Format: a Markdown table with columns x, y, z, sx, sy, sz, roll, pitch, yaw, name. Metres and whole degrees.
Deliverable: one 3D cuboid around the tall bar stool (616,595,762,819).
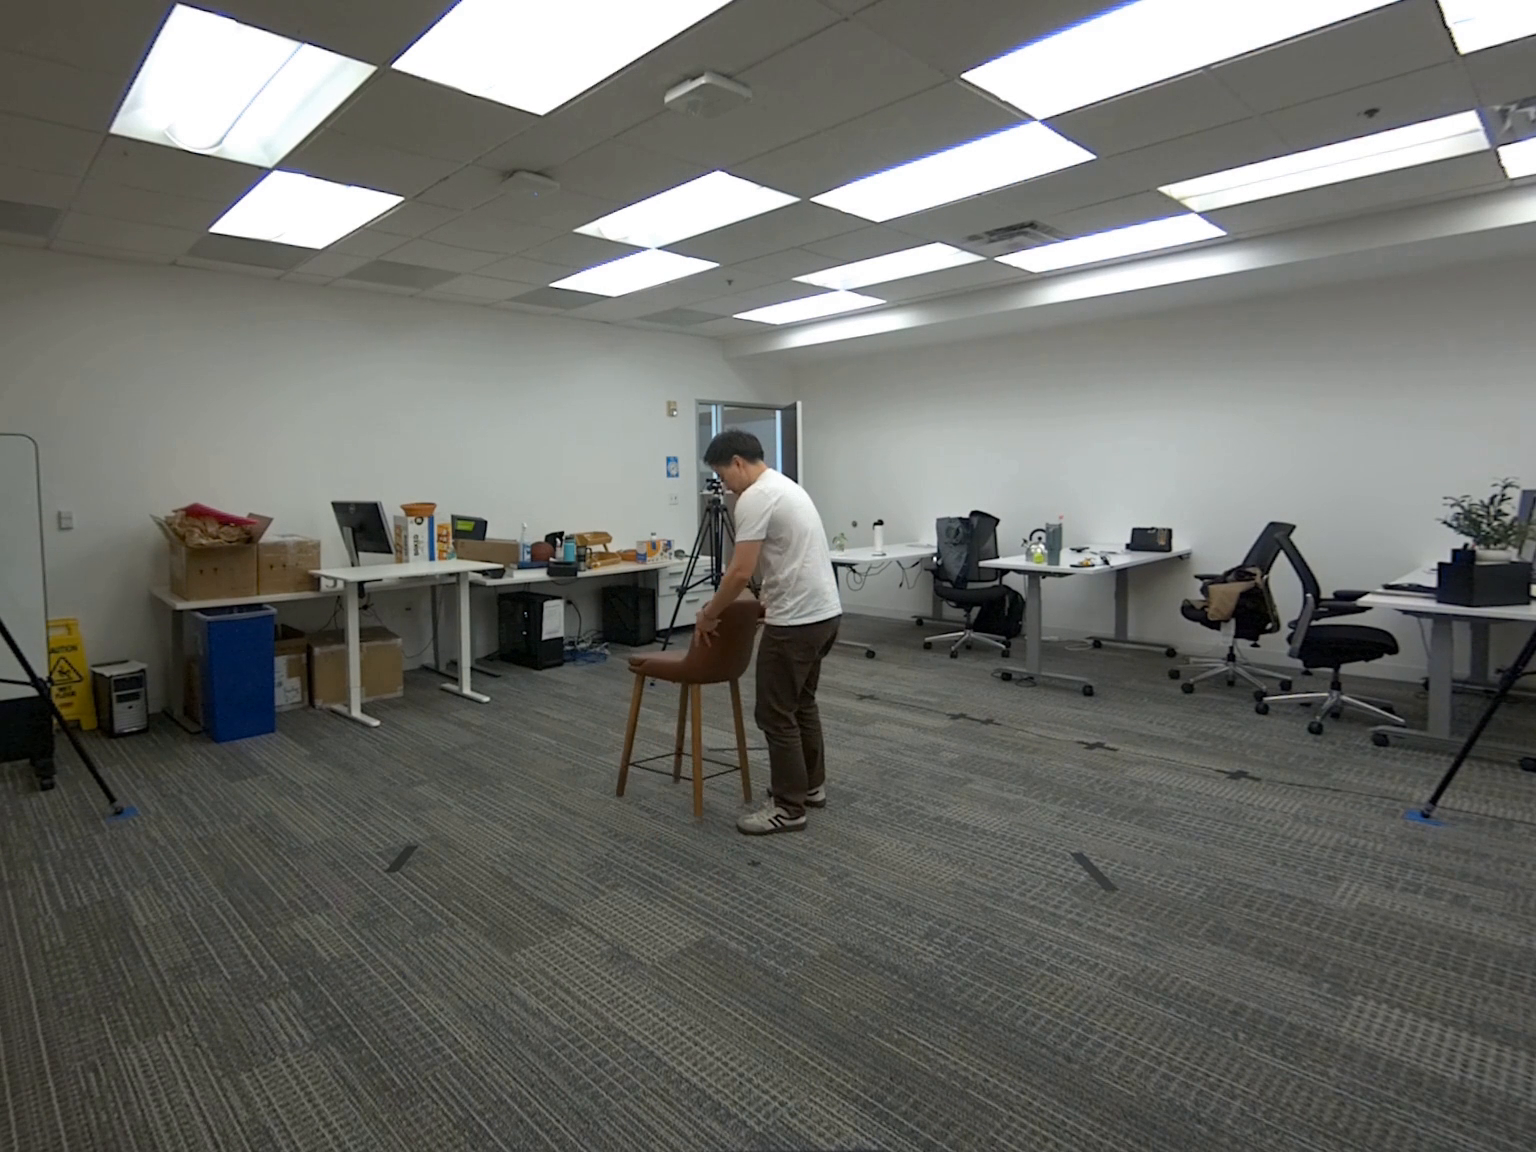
| x | y | z | sx | sy | sz | roll | pitch | yaw | name |
| --- | --- | --- | --- | --- | --- | --- | --- | --- | --- |
| -0.324 | 0.525 | 3.699 | 0.482 | 0.889 | 0.443 | 5 | 1 | 36 | tall bar stool |
